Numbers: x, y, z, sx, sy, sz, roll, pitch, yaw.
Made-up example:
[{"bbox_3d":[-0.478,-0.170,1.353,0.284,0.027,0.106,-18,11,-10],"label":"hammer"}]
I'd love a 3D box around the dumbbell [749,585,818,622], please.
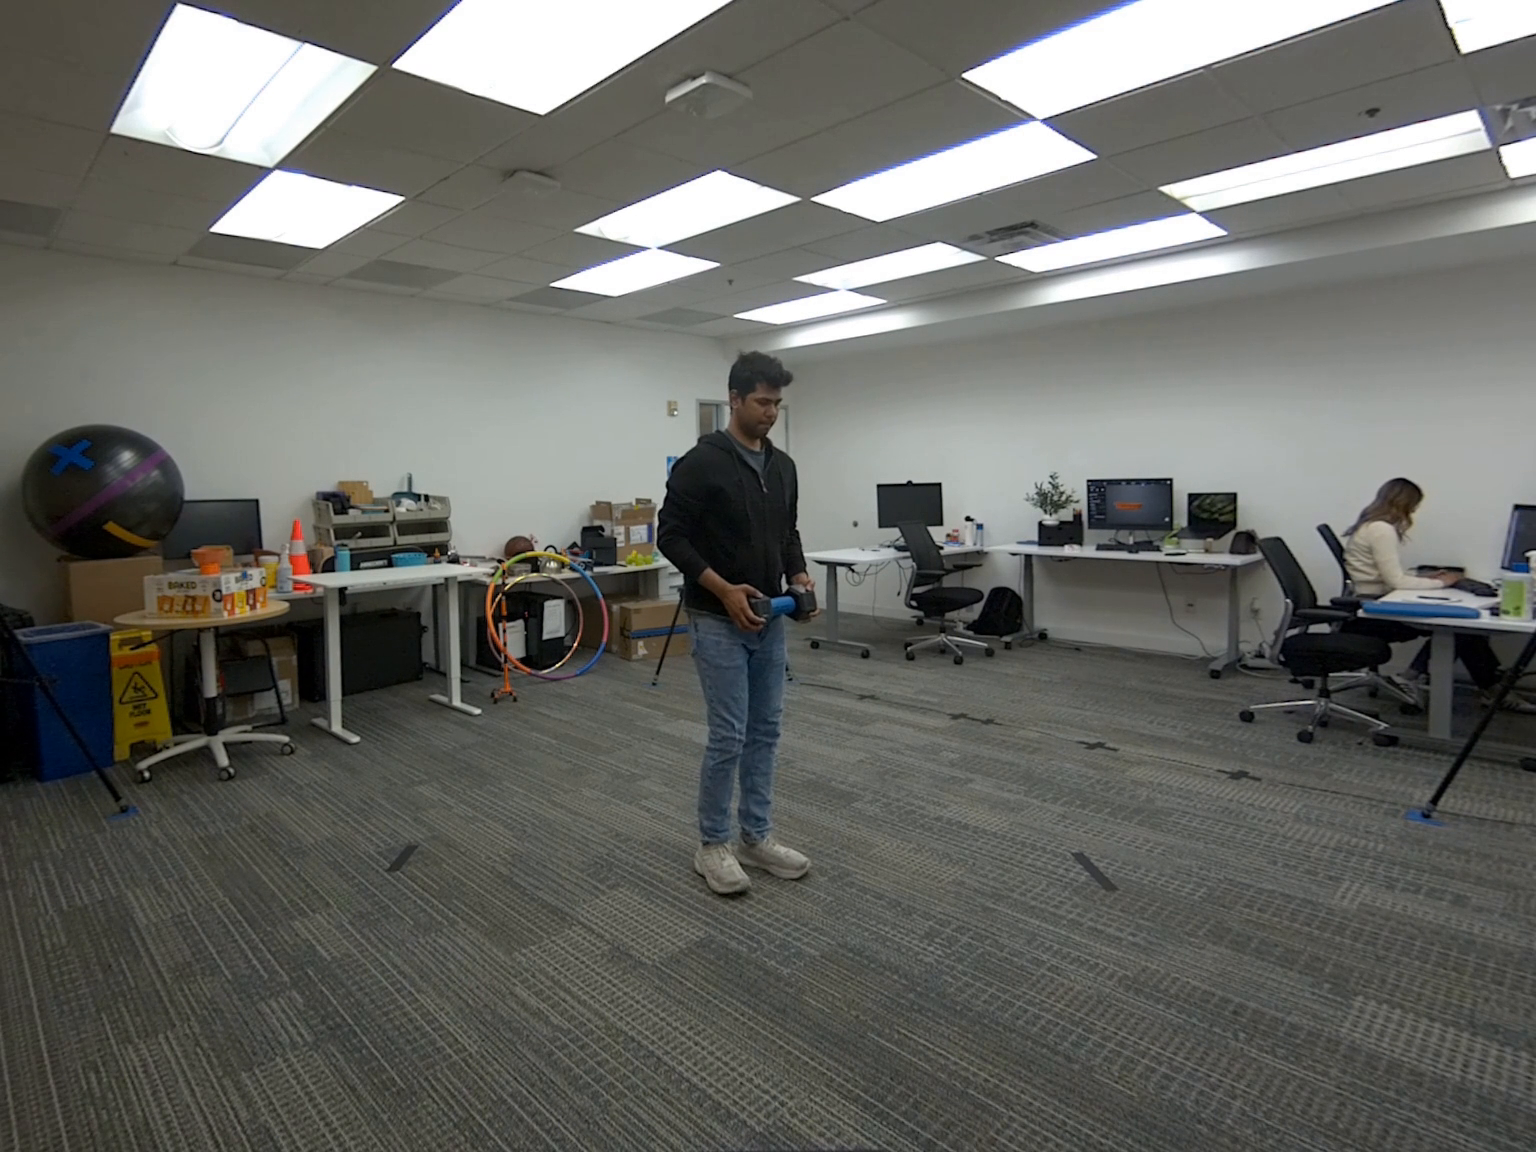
[{"bbox_3d":[0.019,0.107,2.870,0.286,0.112,0.122,-8,-33,-41],"label":"dumbbell"}]
